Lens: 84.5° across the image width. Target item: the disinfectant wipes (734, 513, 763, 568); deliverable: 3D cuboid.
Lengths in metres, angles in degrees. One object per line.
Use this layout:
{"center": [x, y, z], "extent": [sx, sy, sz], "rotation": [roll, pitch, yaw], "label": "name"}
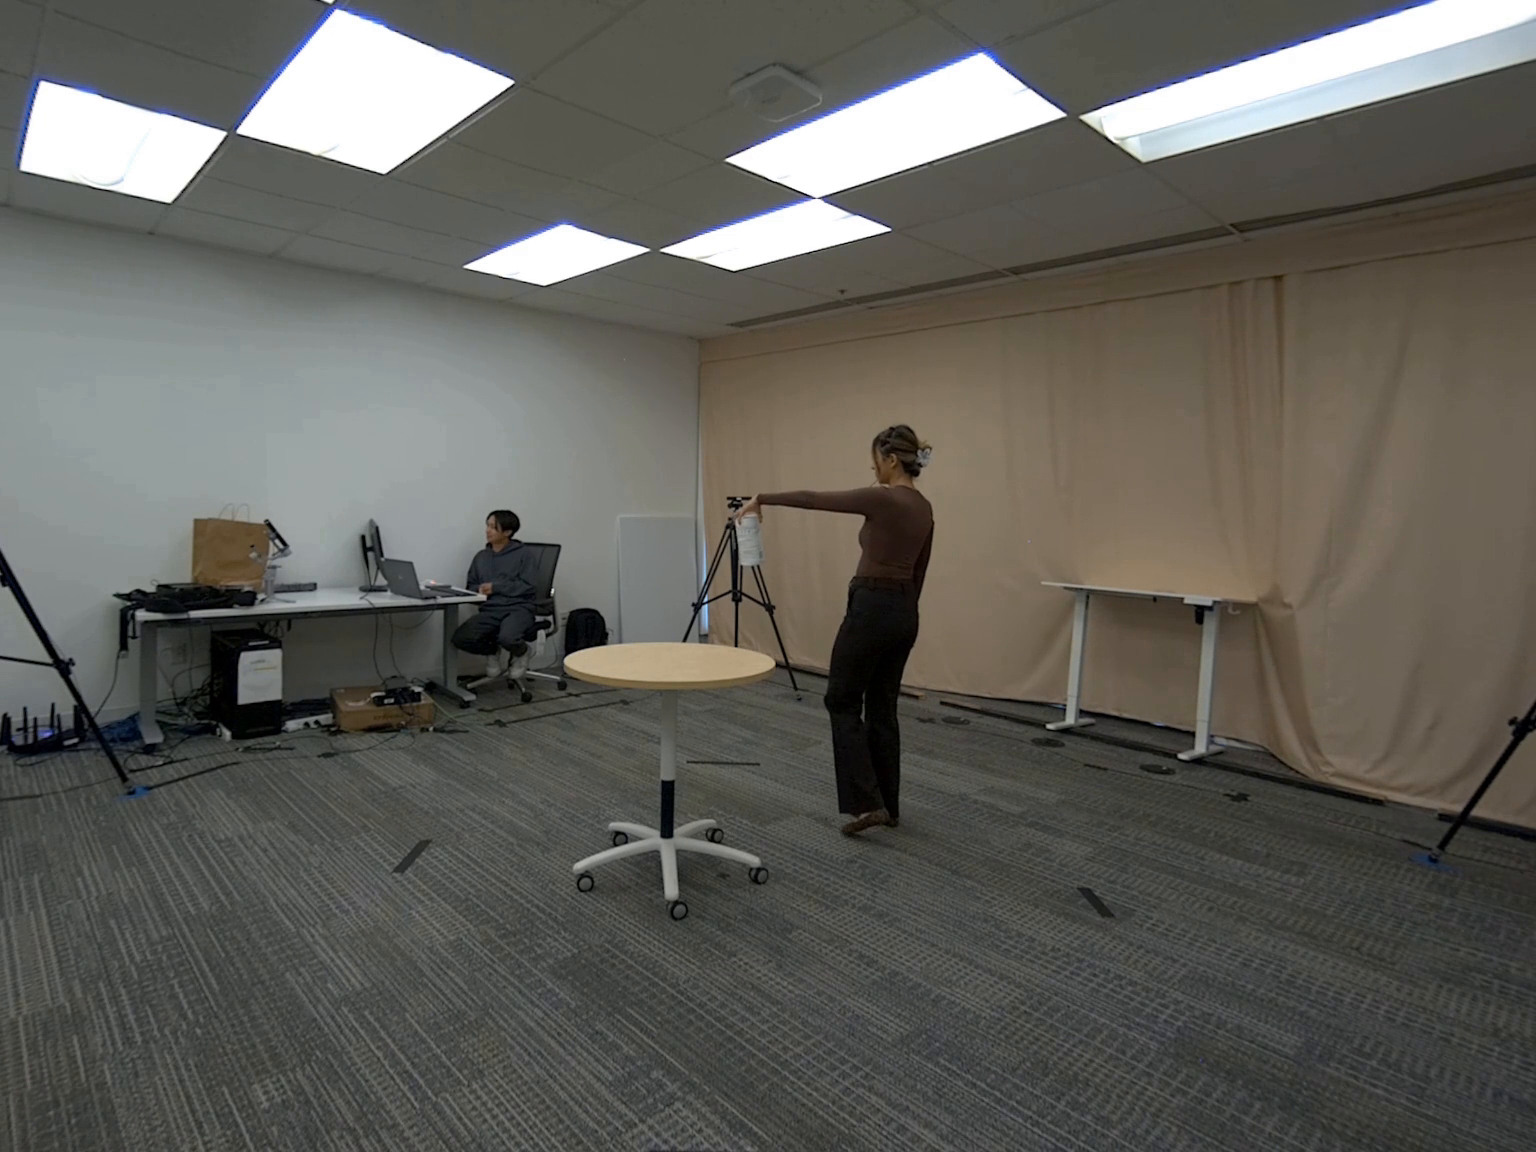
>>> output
{"center": [-0.085, -0.157, 3.756], "extent": [0.118, 0.216, 0.118], "rotation": [-7, 8, 0], "label": "disinfectant wipes"}
